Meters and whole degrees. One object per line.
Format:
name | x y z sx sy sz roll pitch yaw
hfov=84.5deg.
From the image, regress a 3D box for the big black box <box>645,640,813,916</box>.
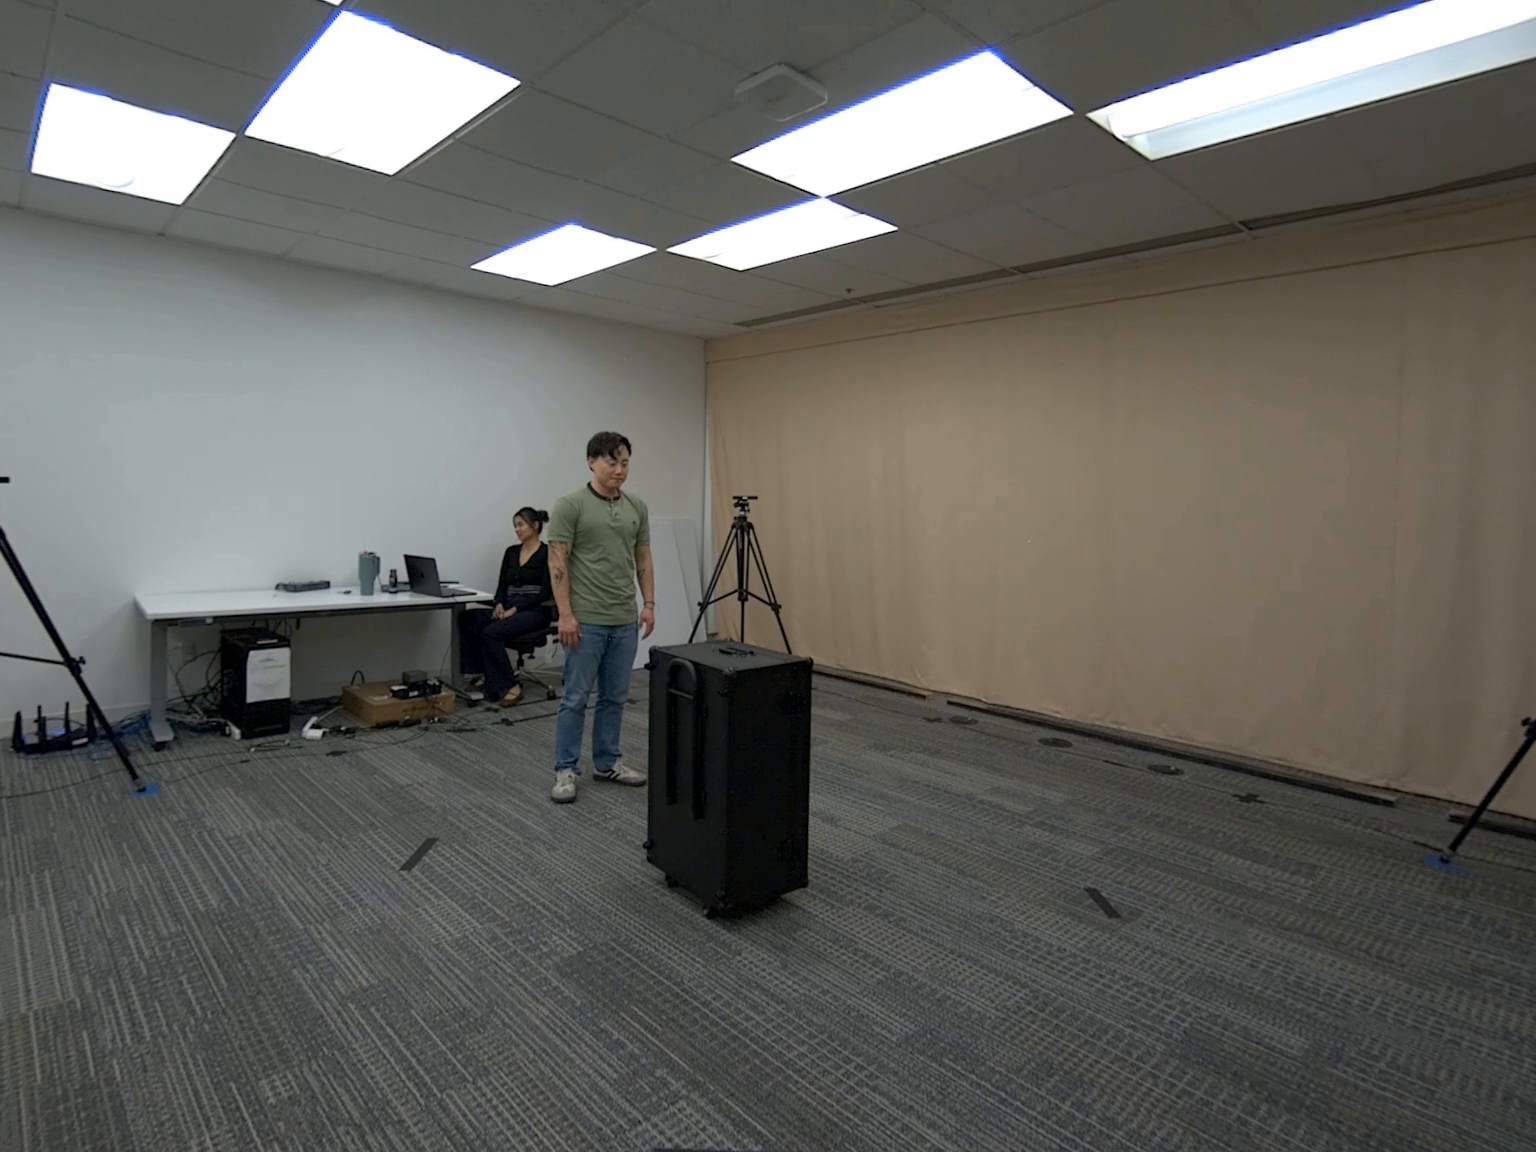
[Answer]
big black box | -0.156 0.694 2.922 0.387 0.859 0.534 -3 5 -38
